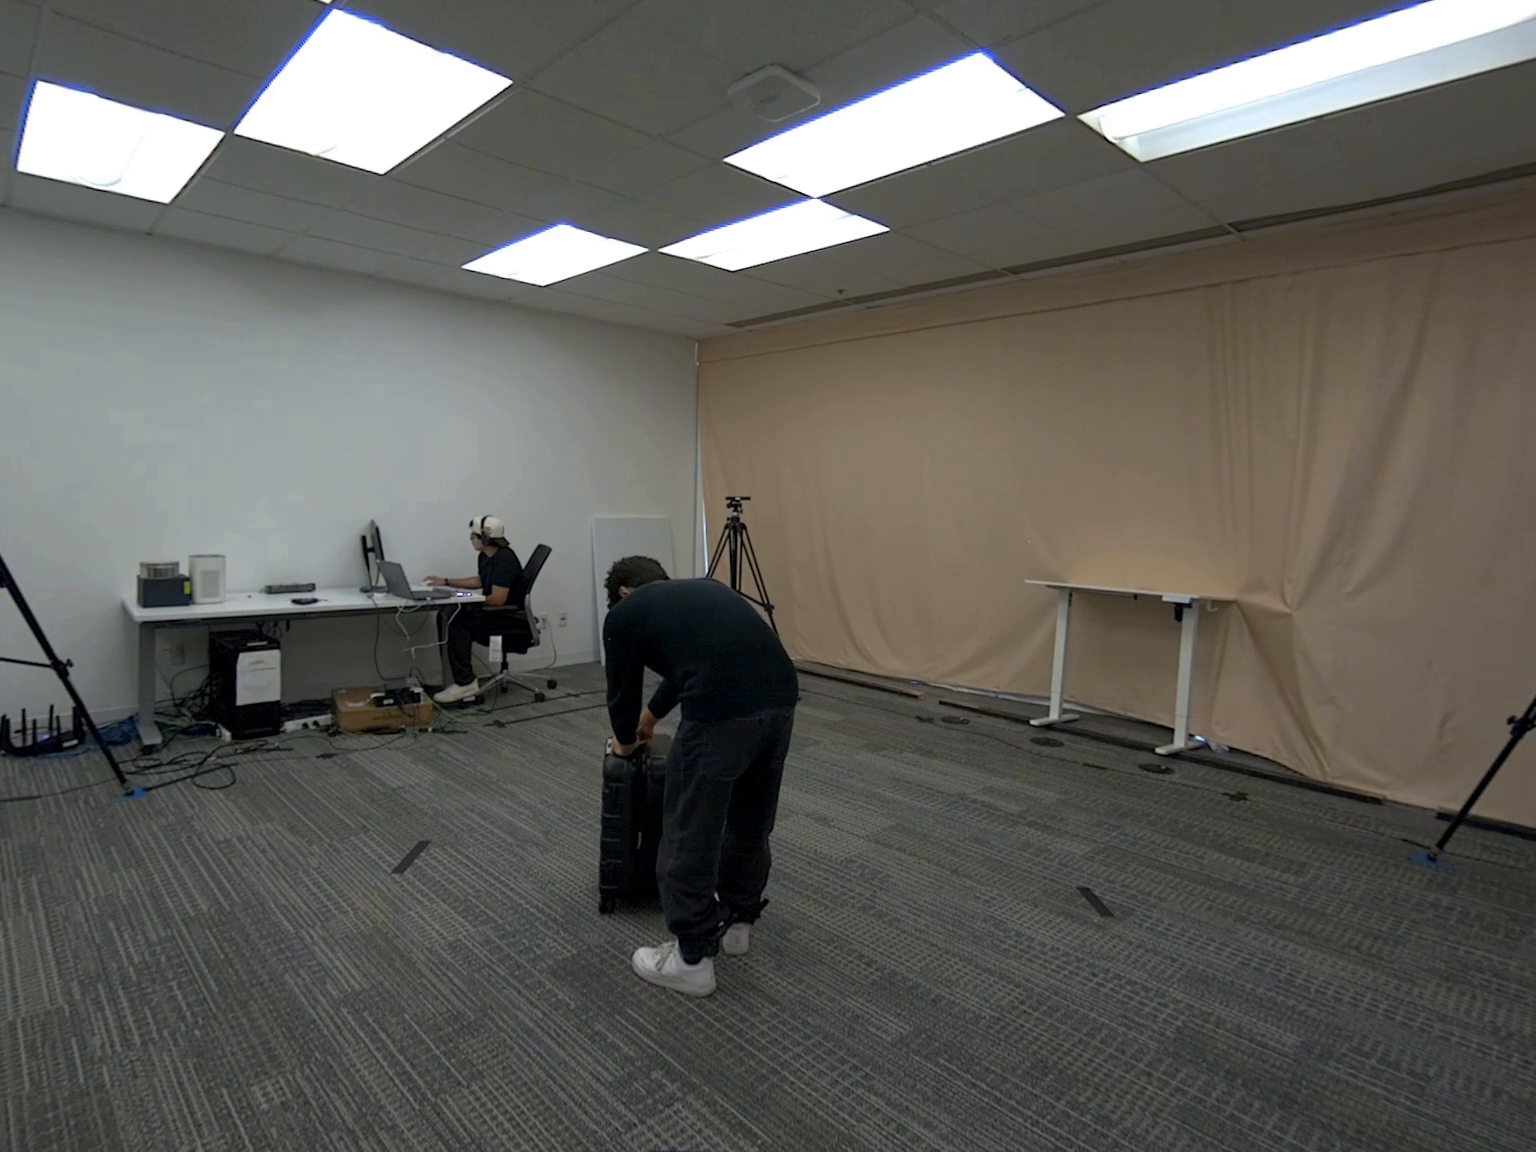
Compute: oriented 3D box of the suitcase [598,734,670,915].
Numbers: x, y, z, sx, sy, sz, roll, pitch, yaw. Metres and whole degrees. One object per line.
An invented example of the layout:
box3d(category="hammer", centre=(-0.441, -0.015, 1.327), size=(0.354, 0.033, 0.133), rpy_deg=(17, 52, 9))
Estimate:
box3d(category="suitcase", centre=(-0.464, 0.841, 2.935), size=(0.247, 0.547, 0.379), rpy_deg=(1, 5, -9))
